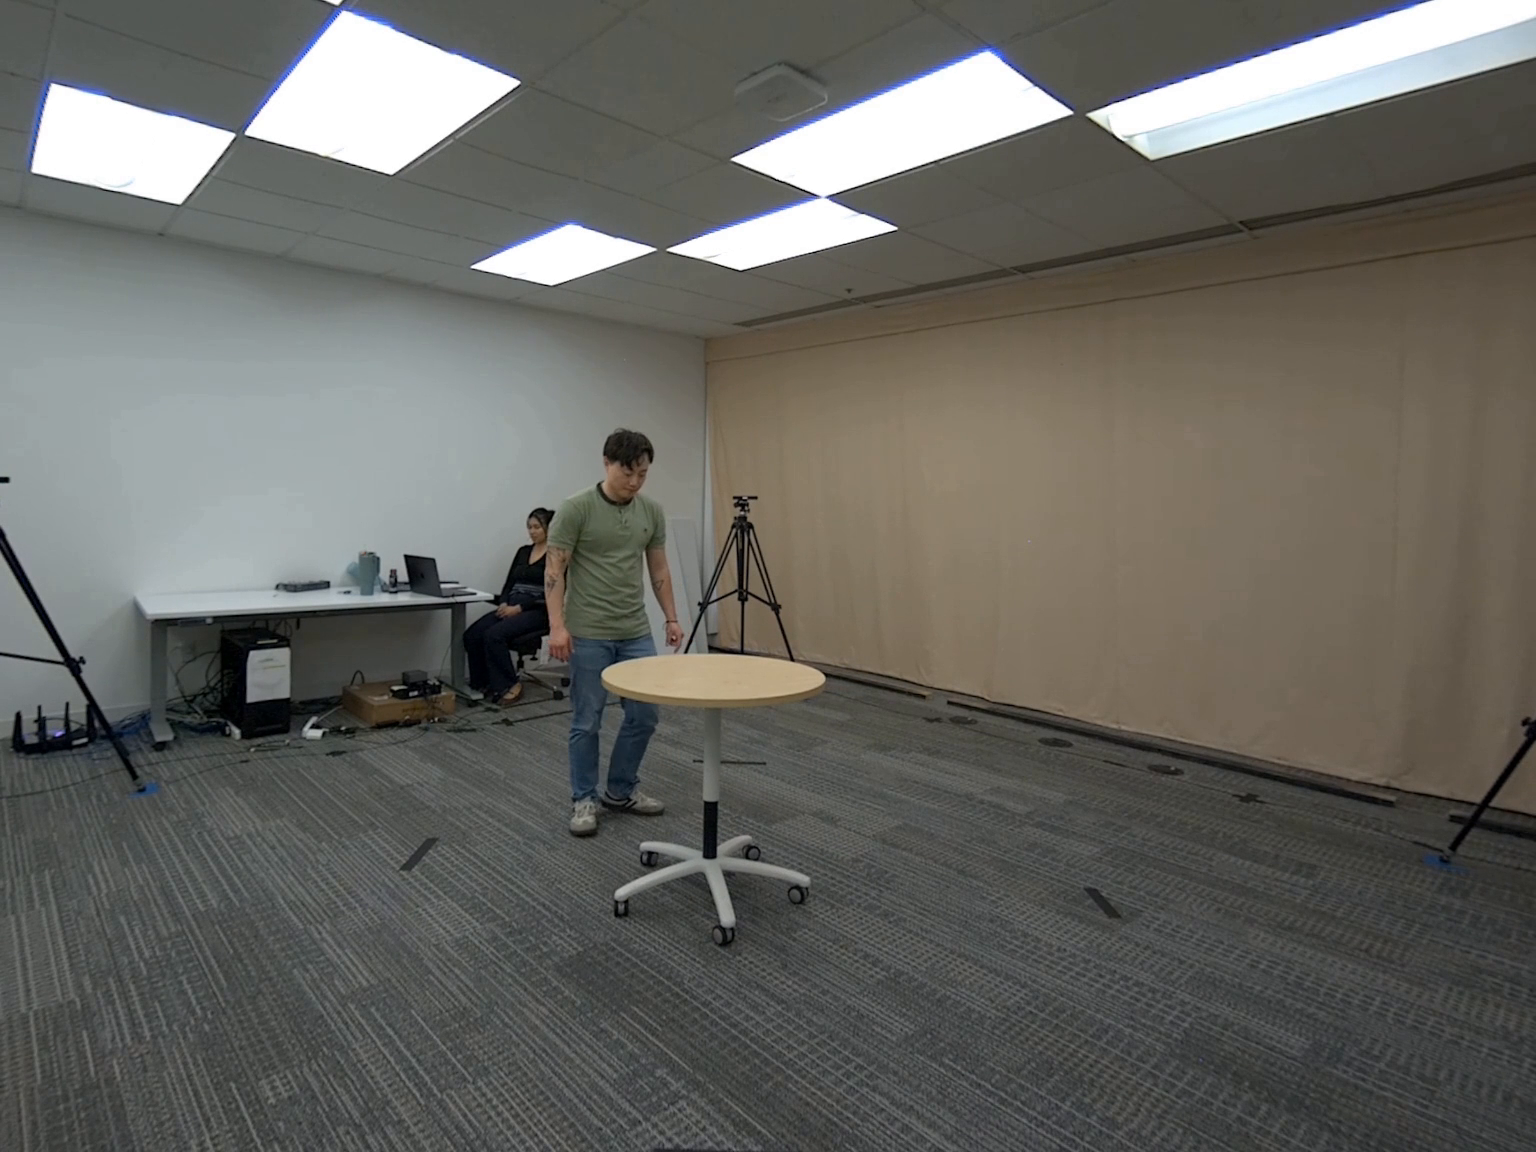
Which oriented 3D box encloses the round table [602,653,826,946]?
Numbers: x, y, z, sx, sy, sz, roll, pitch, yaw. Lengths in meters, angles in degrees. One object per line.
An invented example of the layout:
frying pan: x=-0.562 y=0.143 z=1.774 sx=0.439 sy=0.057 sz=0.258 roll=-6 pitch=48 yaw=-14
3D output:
round table: x=-0.198 y=0.732 z=2.912 sx=0.763 sy=0.792 sz=0.766 roll=1 pitch=4 yaw=-1
